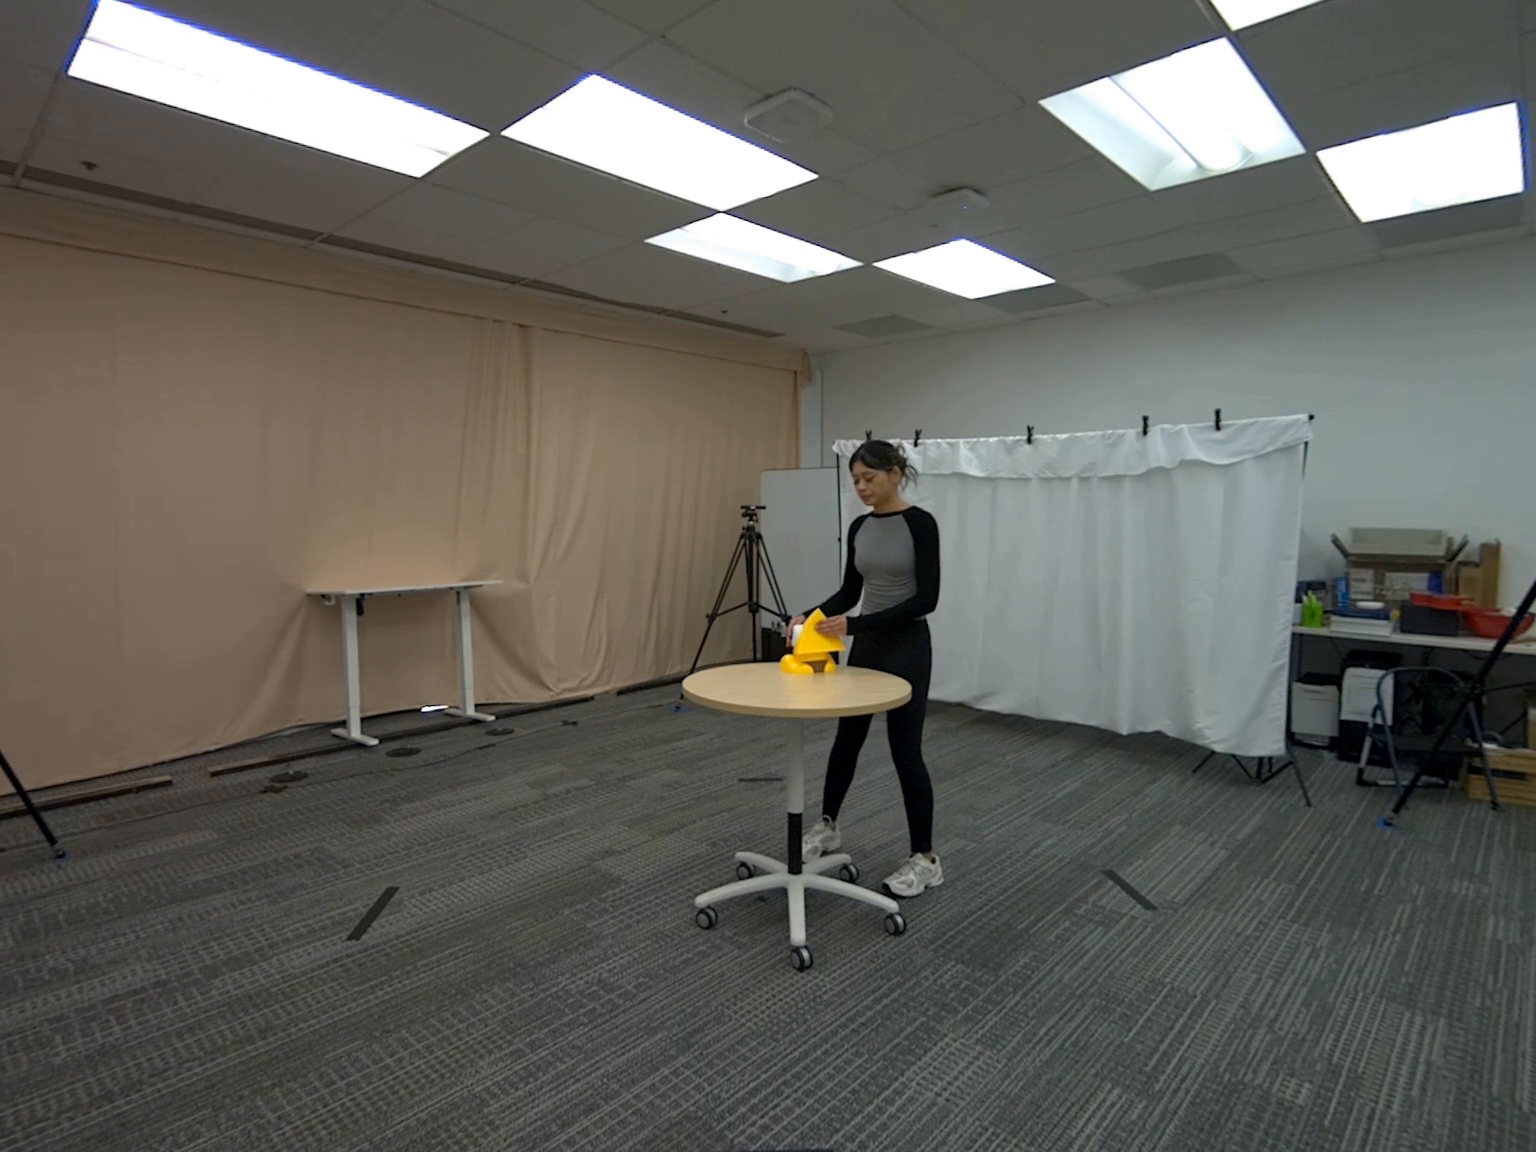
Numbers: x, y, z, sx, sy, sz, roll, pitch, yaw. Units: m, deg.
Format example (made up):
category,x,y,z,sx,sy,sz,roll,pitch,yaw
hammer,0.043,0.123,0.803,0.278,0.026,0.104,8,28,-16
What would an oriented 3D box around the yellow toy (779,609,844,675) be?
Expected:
category,x,y,z,sx,sy,sz,roll,pitch,yaw
yellow toy,0.156,0.232,3.087,0.199,0.230,0.198,-1,4,-29
